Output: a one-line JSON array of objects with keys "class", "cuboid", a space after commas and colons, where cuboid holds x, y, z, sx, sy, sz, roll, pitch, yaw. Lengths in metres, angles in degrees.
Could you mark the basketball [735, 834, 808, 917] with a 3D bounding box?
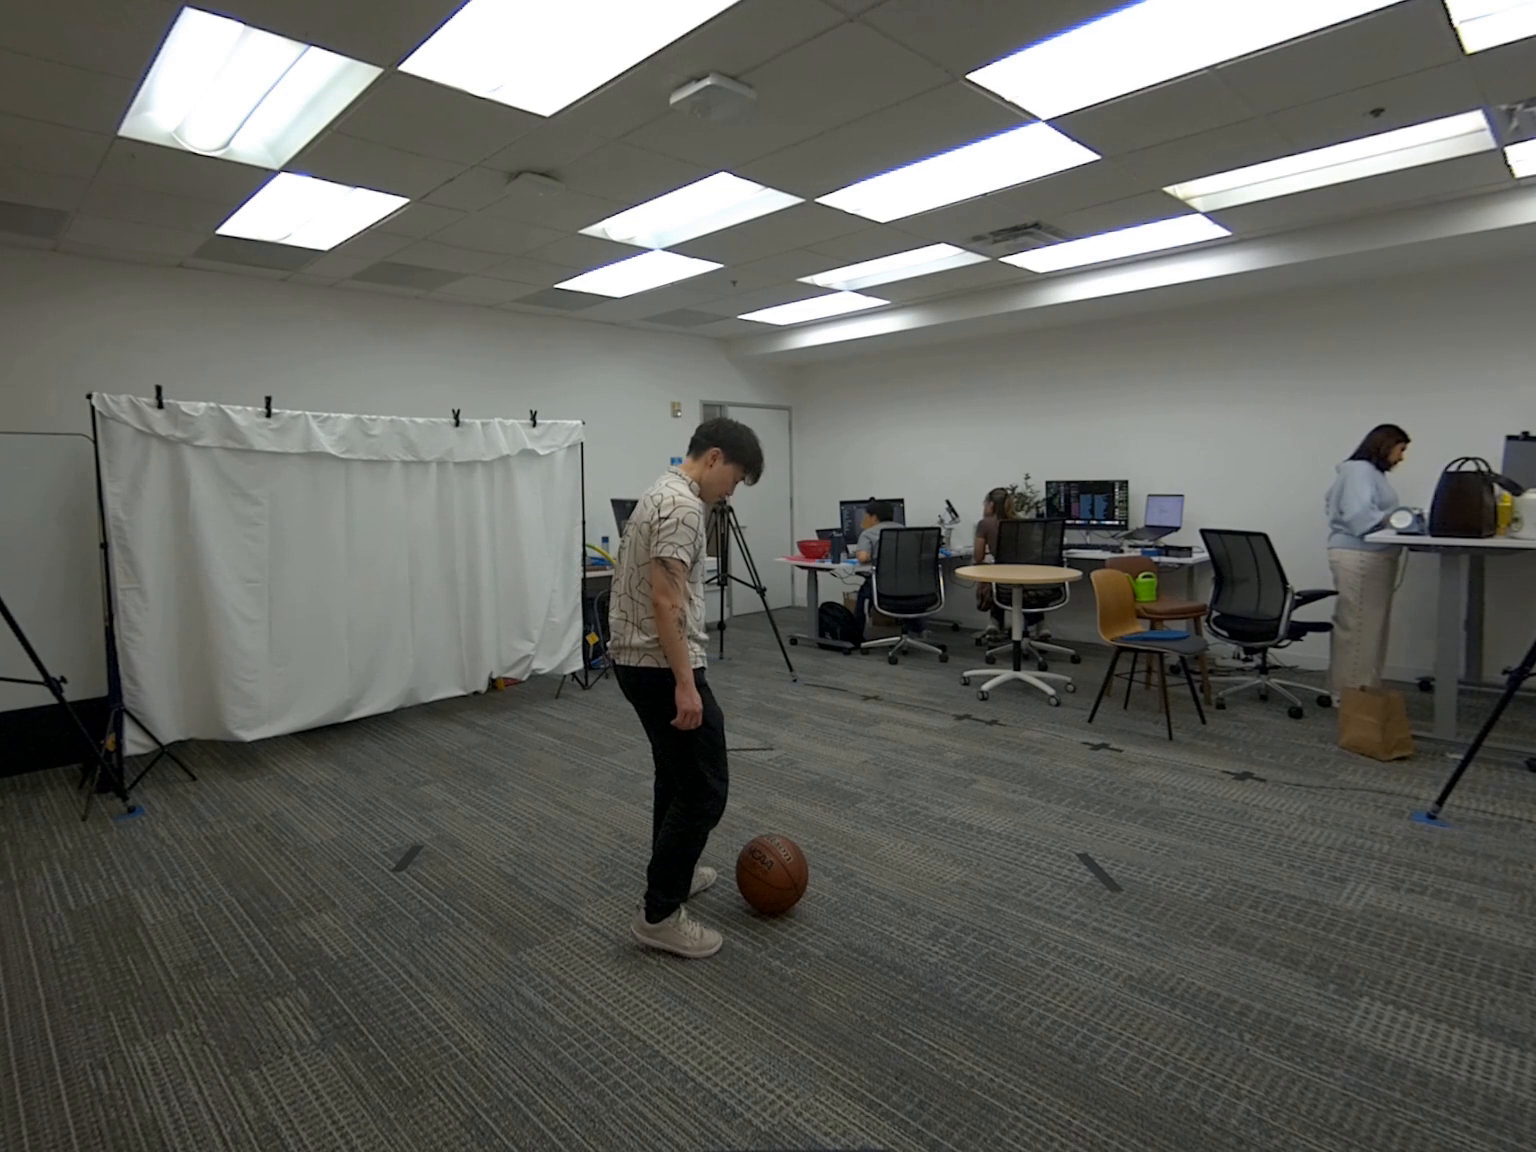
[{"class": "basketball", "cuboid": [0.018, 0.962, 2.773, 0.236, 0.235, 0.237, -1, 5, -2]}]
